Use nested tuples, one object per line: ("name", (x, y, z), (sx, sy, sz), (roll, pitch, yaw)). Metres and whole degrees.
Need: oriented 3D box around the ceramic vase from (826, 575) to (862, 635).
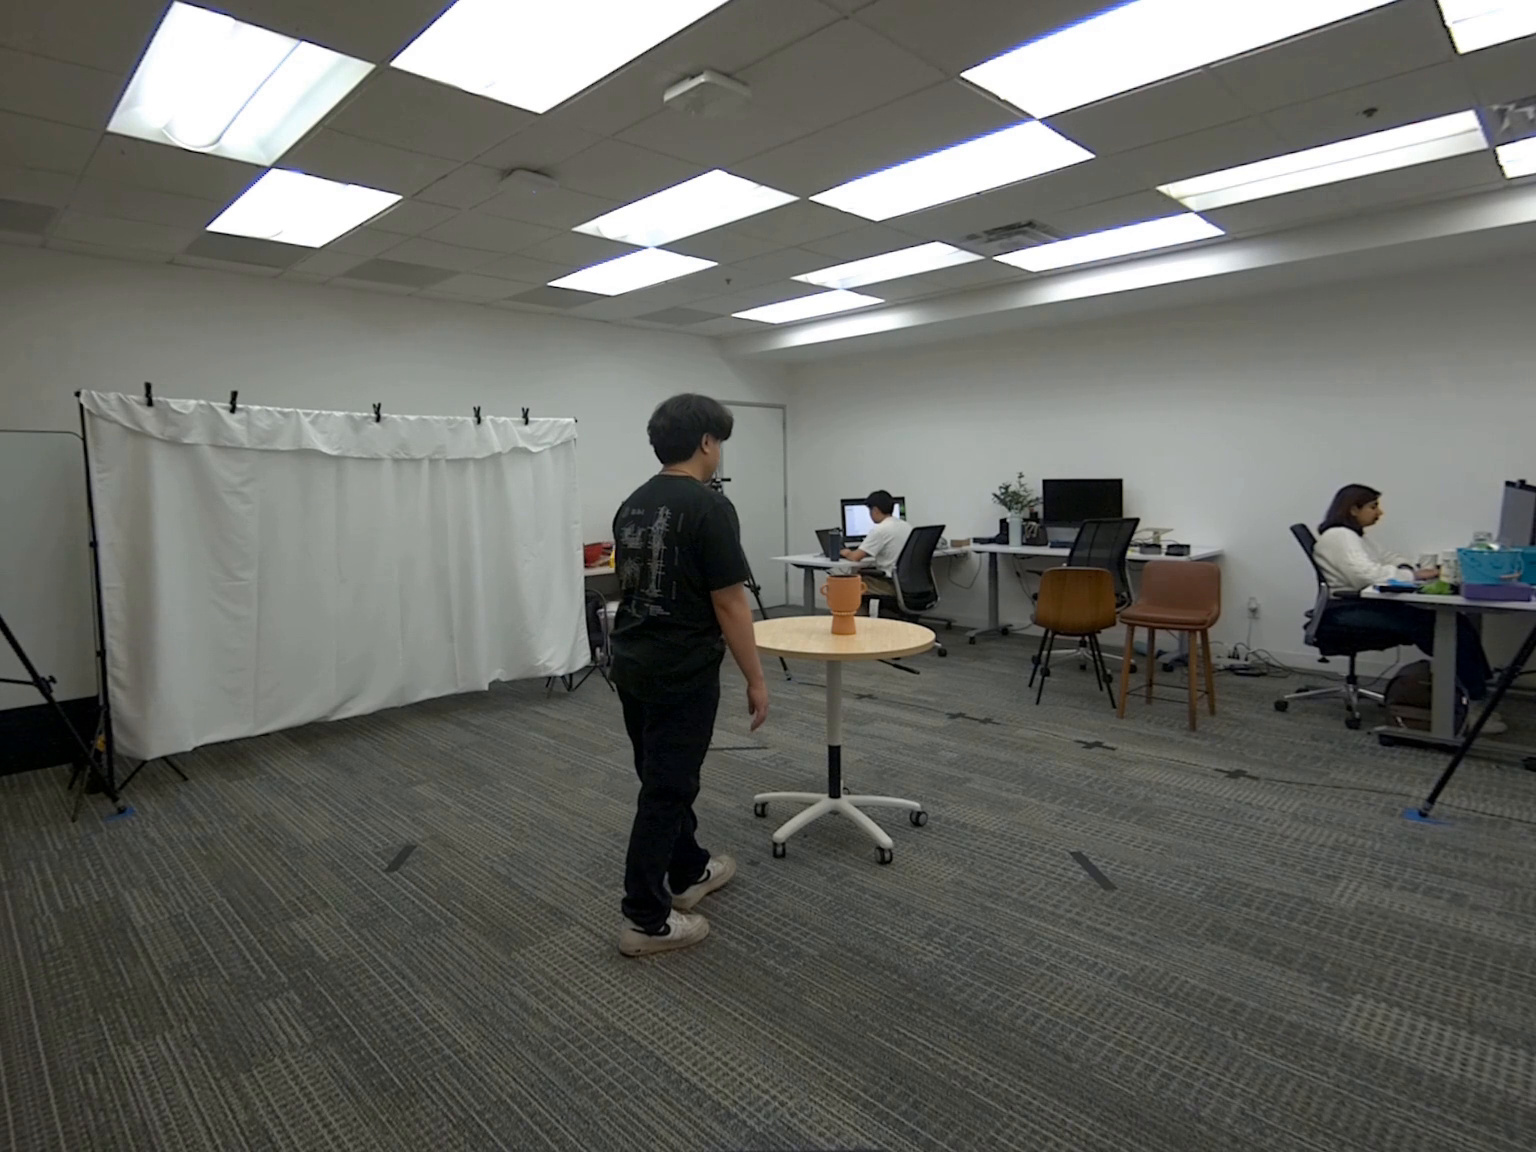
("ceramic vase", (0.300, 0.111, 3.308), (0.162, 0.219, 0.133), (2, 4, 18))
